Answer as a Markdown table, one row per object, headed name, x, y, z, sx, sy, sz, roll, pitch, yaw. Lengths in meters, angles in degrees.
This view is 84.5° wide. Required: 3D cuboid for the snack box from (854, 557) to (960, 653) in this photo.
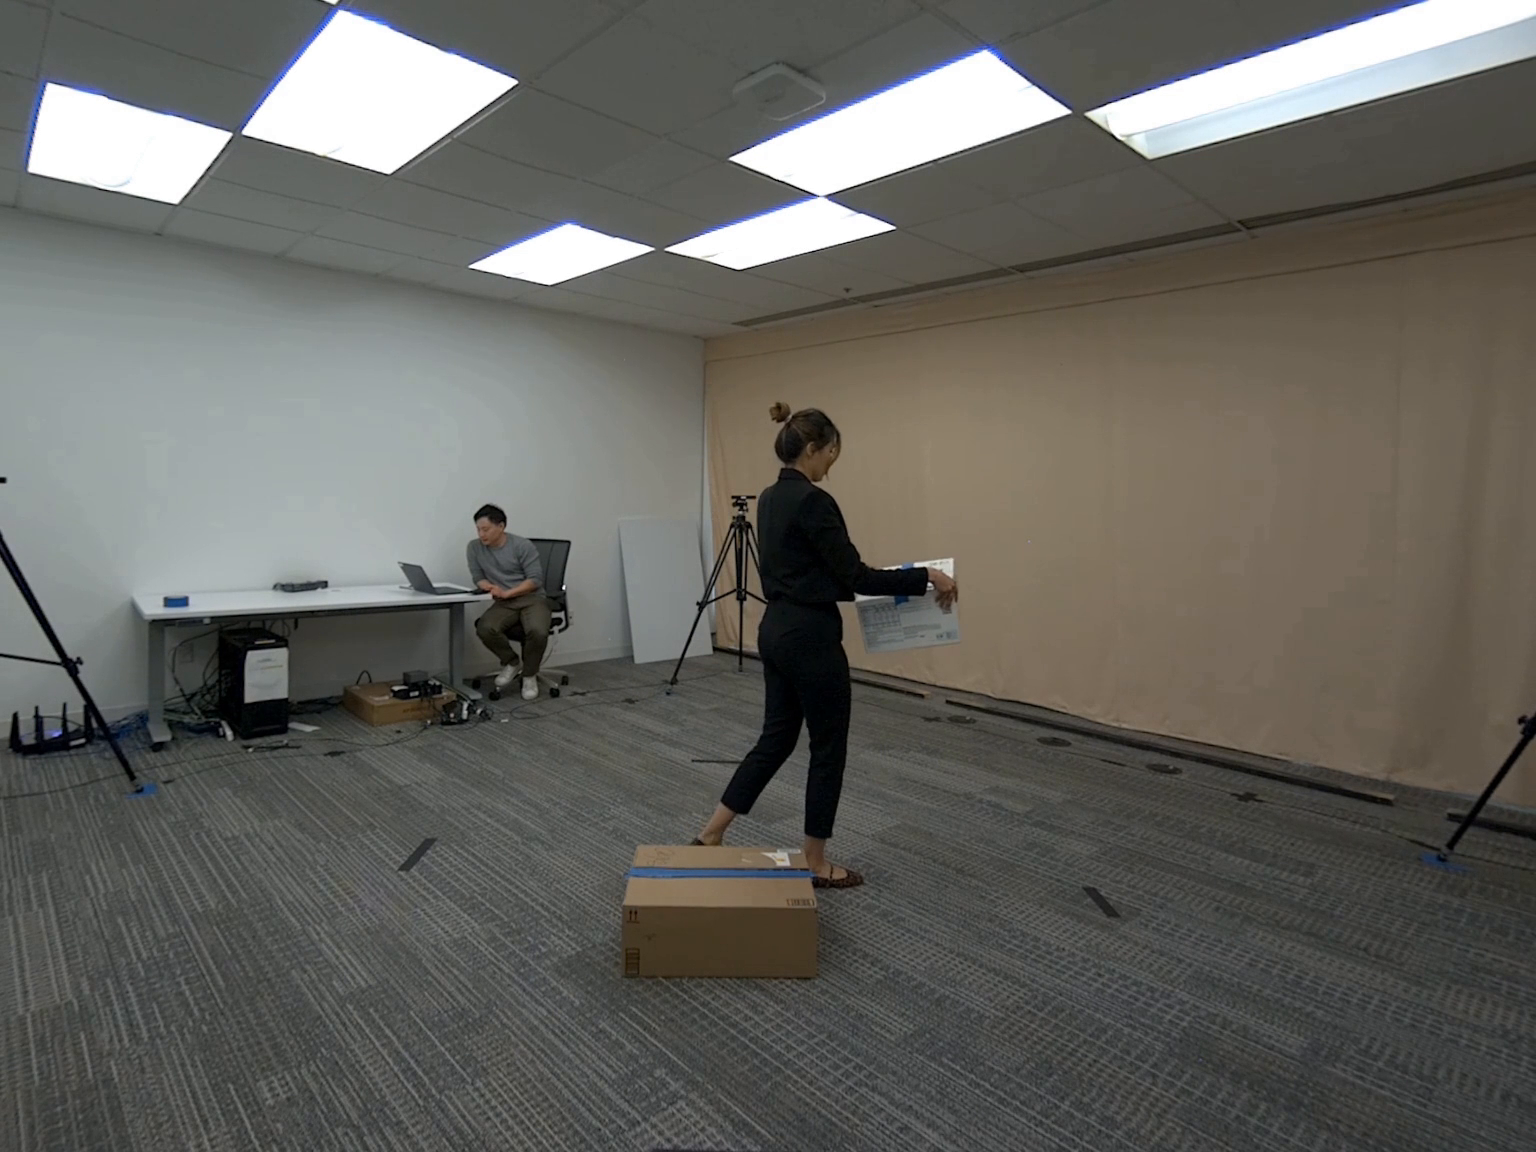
| name | x | y | z | sx | sy | sz | roll | pitch | yaw |
| --- | --- | --- | --- | --- | --- | --- | --- | --- | --- |
| snack box | 0.526 | 0.103 | 3.133 | 0.344 | 0.203 | 0.405 | -9 | 14 | 16 |
